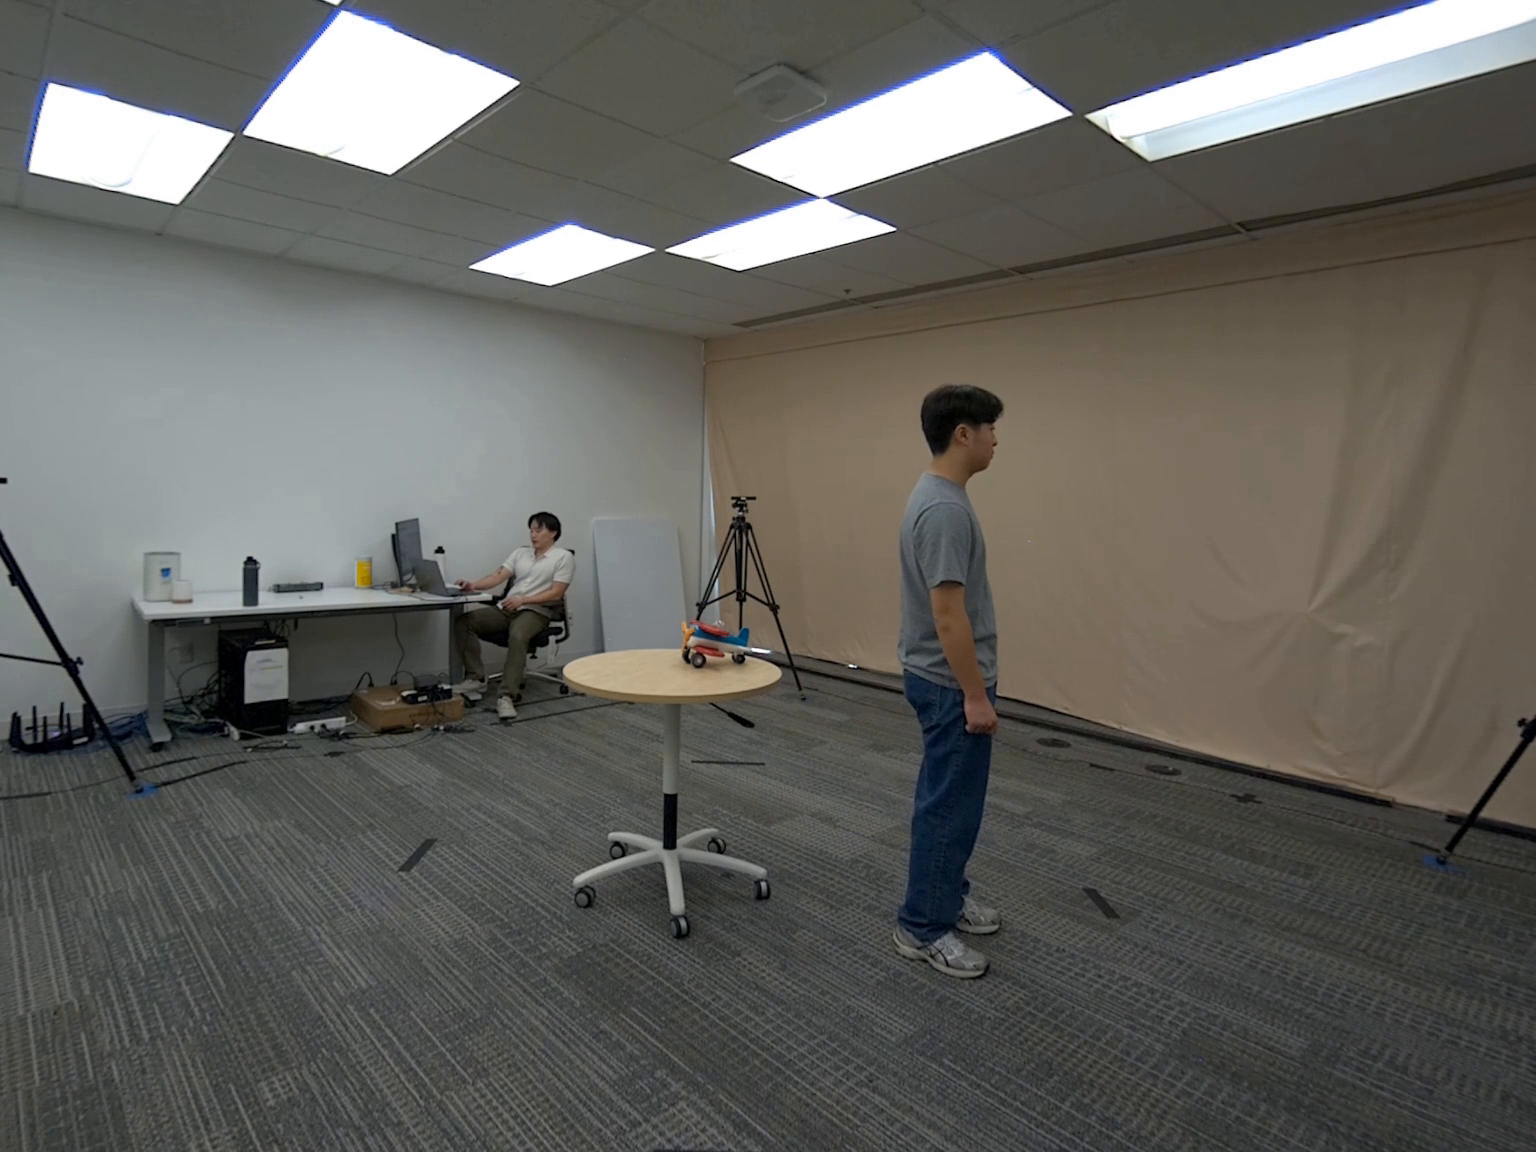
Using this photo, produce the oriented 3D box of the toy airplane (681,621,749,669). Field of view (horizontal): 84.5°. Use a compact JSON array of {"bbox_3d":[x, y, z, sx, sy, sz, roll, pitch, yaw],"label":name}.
[{"bbox_3d":[-0.208,0.247,3.083,0.257,0.156,0.254,6,7,37],"label":"toy airplane"}]
